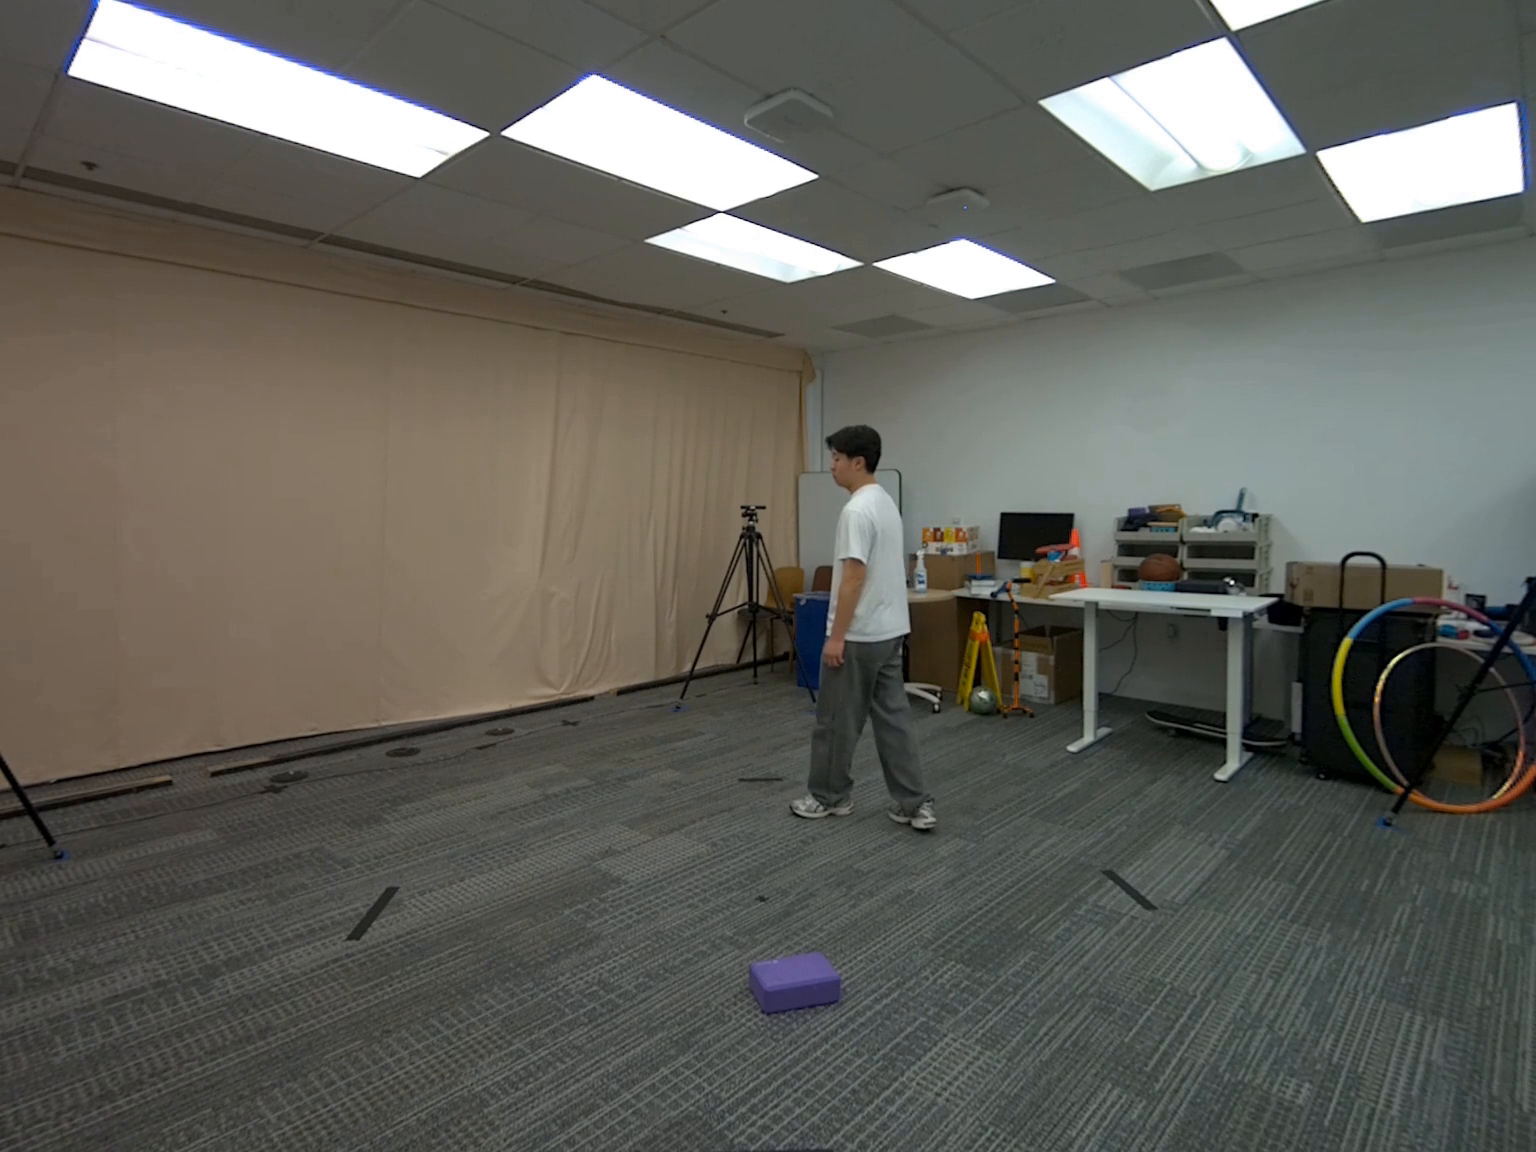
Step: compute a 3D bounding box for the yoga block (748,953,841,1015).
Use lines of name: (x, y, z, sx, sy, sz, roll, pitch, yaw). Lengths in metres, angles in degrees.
yoga block: (0.084, 1.154, 2.391, 0.225, 0.076, 0.152, -1, 4, -17)
